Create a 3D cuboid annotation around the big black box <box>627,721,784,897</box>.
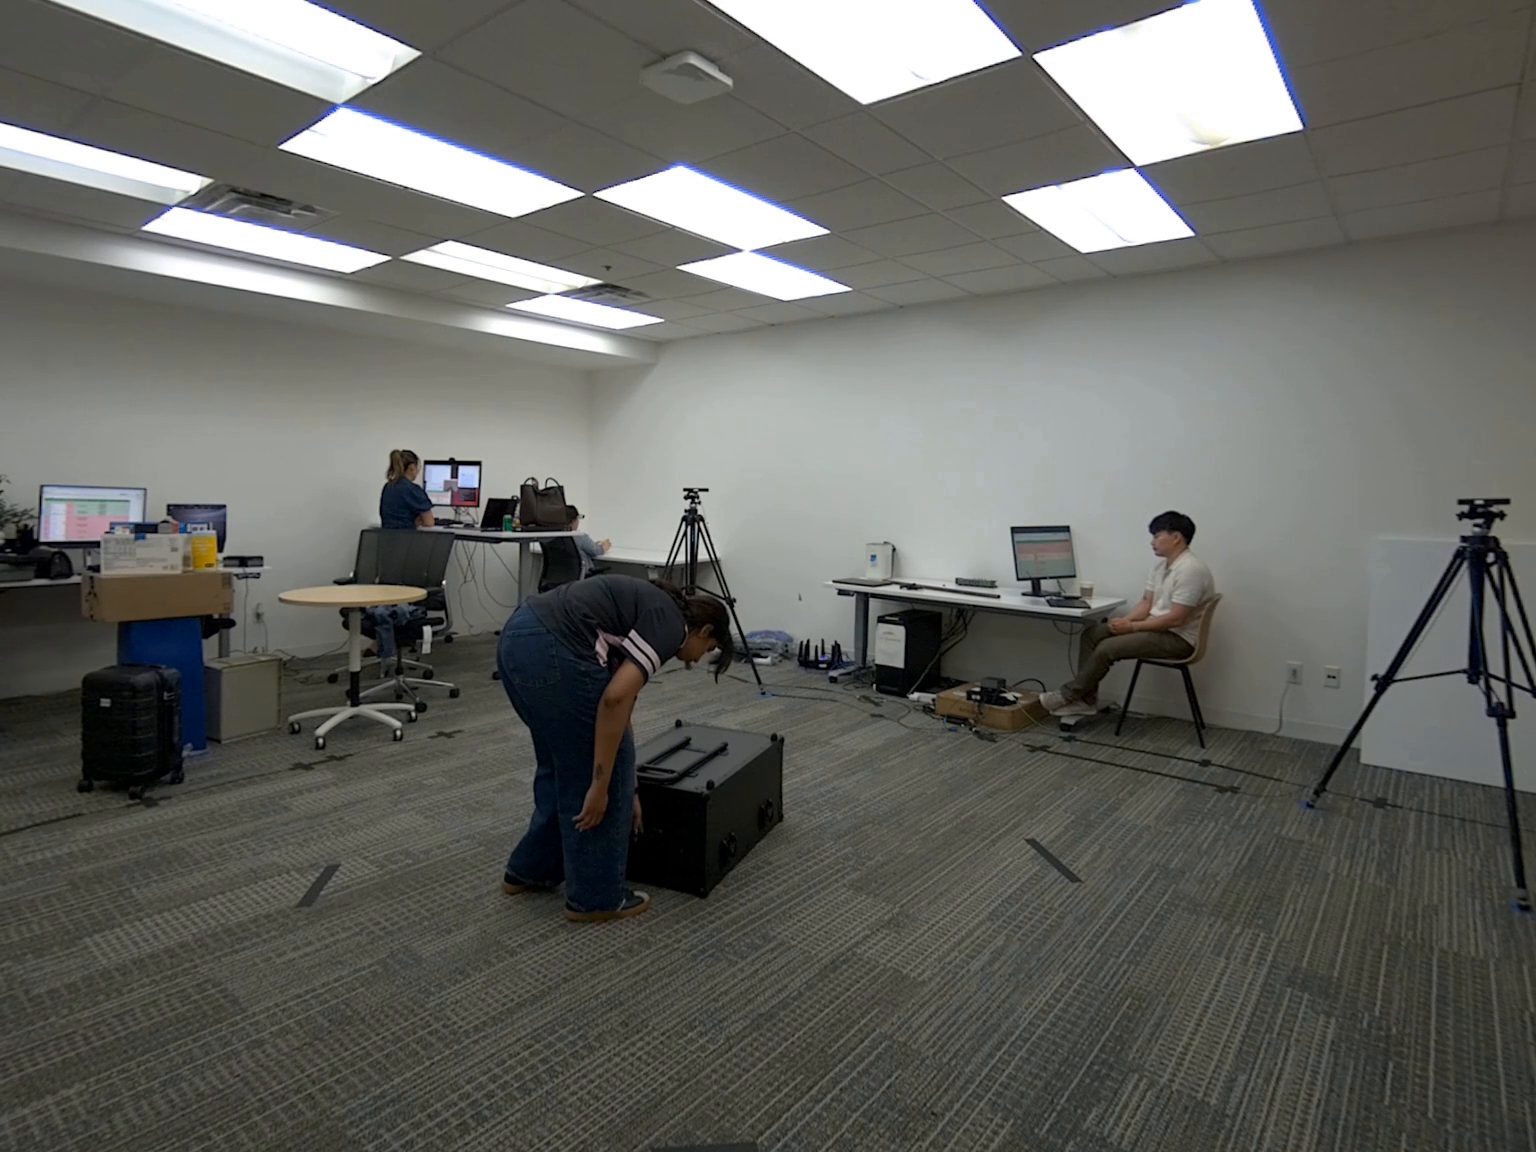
[{"bbox_3d":[-0.299,0.856,3.360,0.535,0.384,0.851,1,5,21],"label":"big black box"}]
